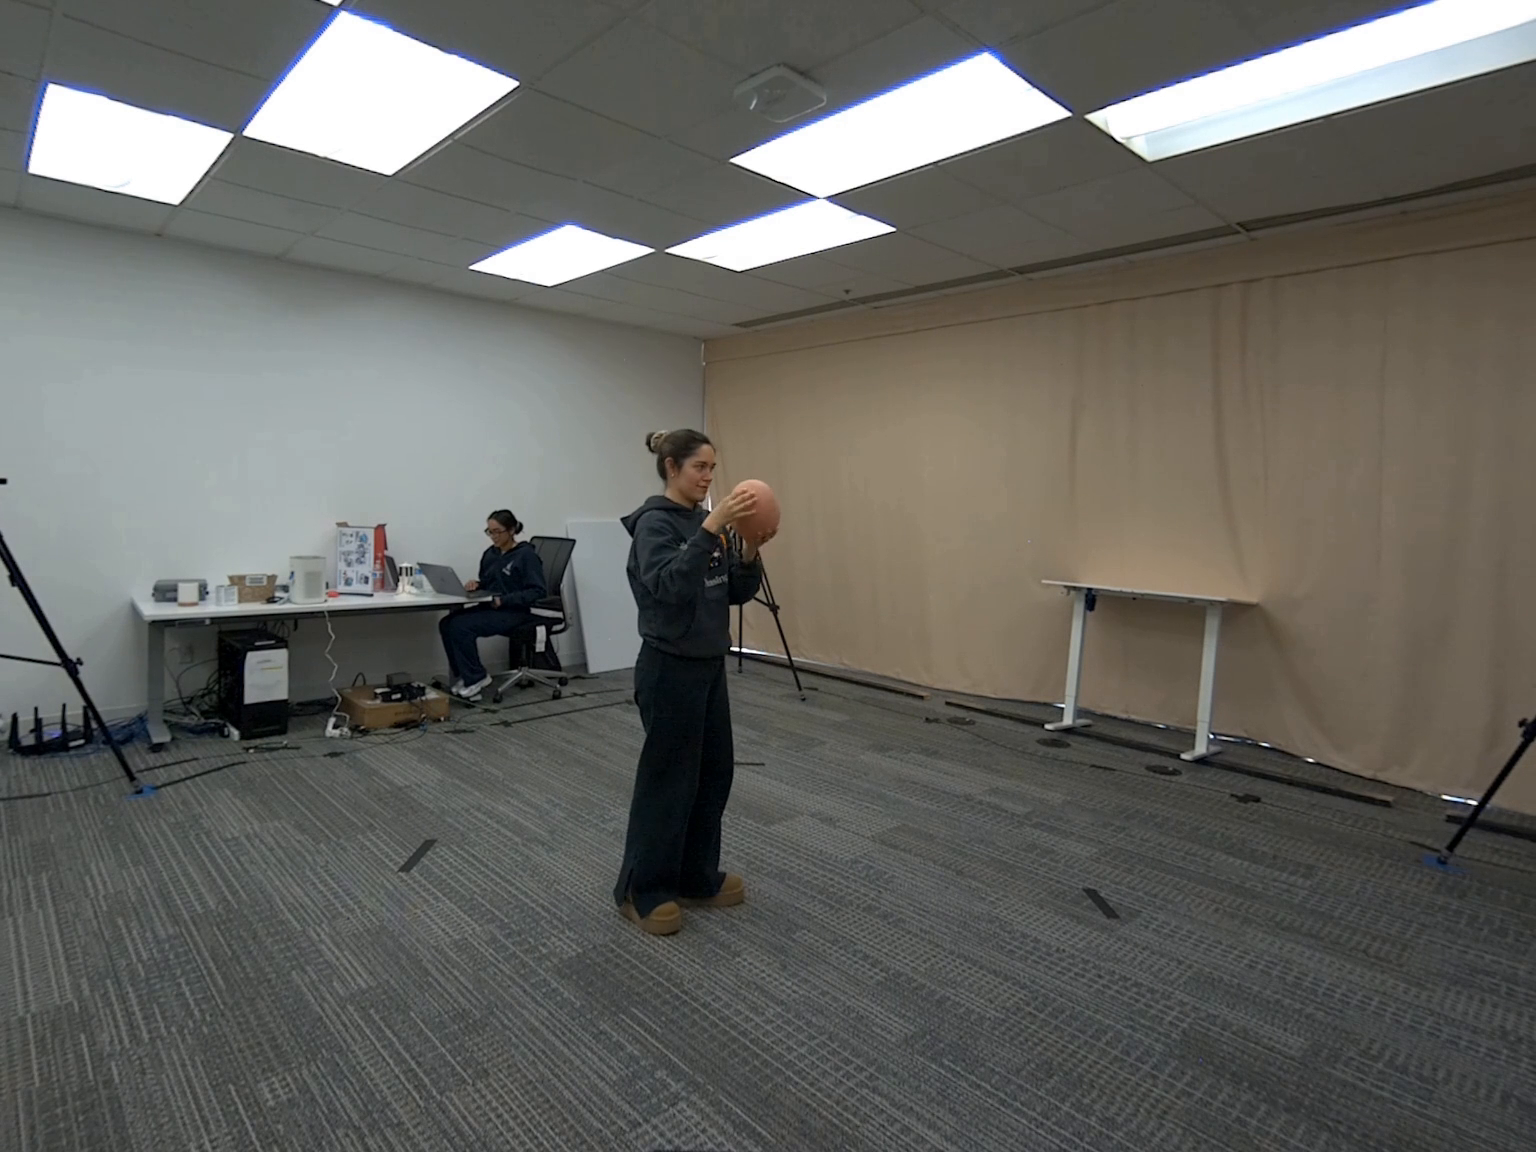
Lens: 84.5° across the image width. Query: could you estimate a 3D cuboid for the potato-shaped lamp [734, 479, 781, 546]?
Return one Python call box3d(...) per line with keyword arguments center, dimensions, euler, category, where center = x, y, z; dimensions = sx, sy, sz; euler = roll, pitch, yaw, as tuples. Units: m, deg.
box3d(center=(-0.061, -0.210, 2.613), dimensions=(0.176, 0.164, 0.193), euler=(43, -15, 28), category="potato-shaped lamp")
